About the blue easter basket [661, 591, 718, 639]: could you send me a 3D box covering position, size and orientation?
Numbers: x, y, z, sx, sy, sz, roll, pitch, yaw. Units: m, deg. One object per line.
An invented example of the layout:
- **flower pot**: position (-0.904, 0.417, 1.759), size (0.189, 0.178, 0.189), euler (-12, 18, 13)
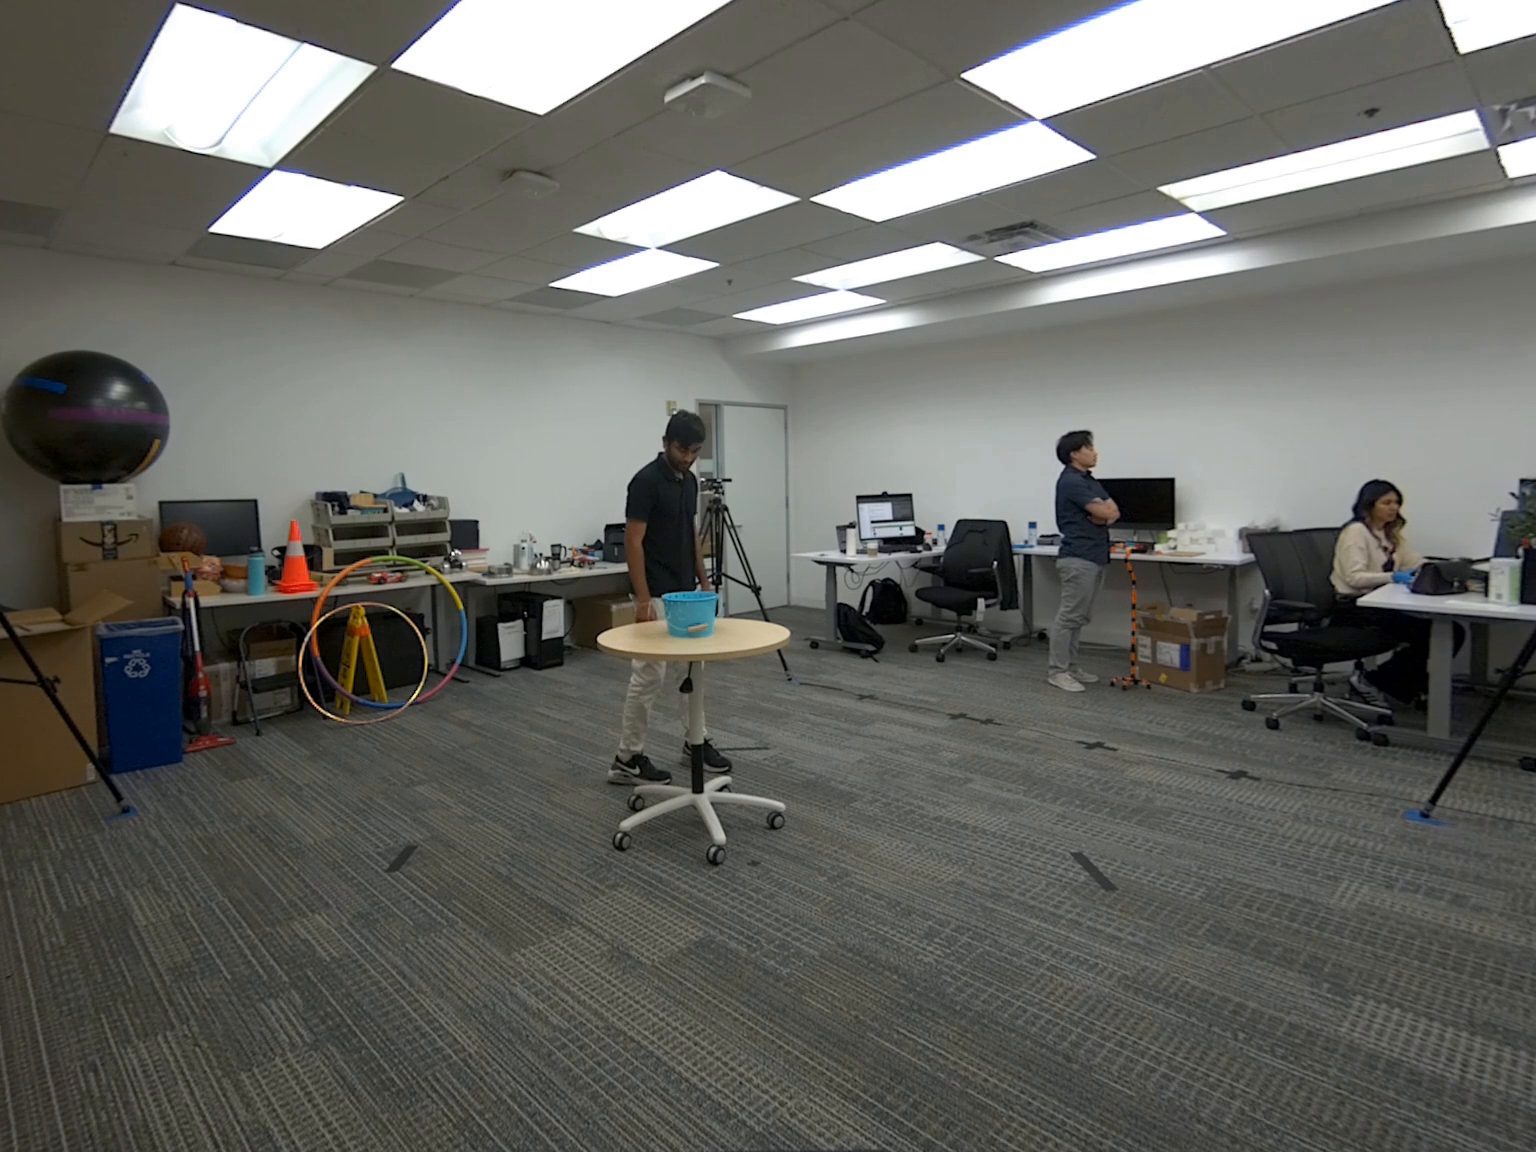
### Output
- **blue easter basket**: position (-0.314, 0.158, 3.419), size (0.243, 0.155, 0.245), euler (-3, 5, -1)
